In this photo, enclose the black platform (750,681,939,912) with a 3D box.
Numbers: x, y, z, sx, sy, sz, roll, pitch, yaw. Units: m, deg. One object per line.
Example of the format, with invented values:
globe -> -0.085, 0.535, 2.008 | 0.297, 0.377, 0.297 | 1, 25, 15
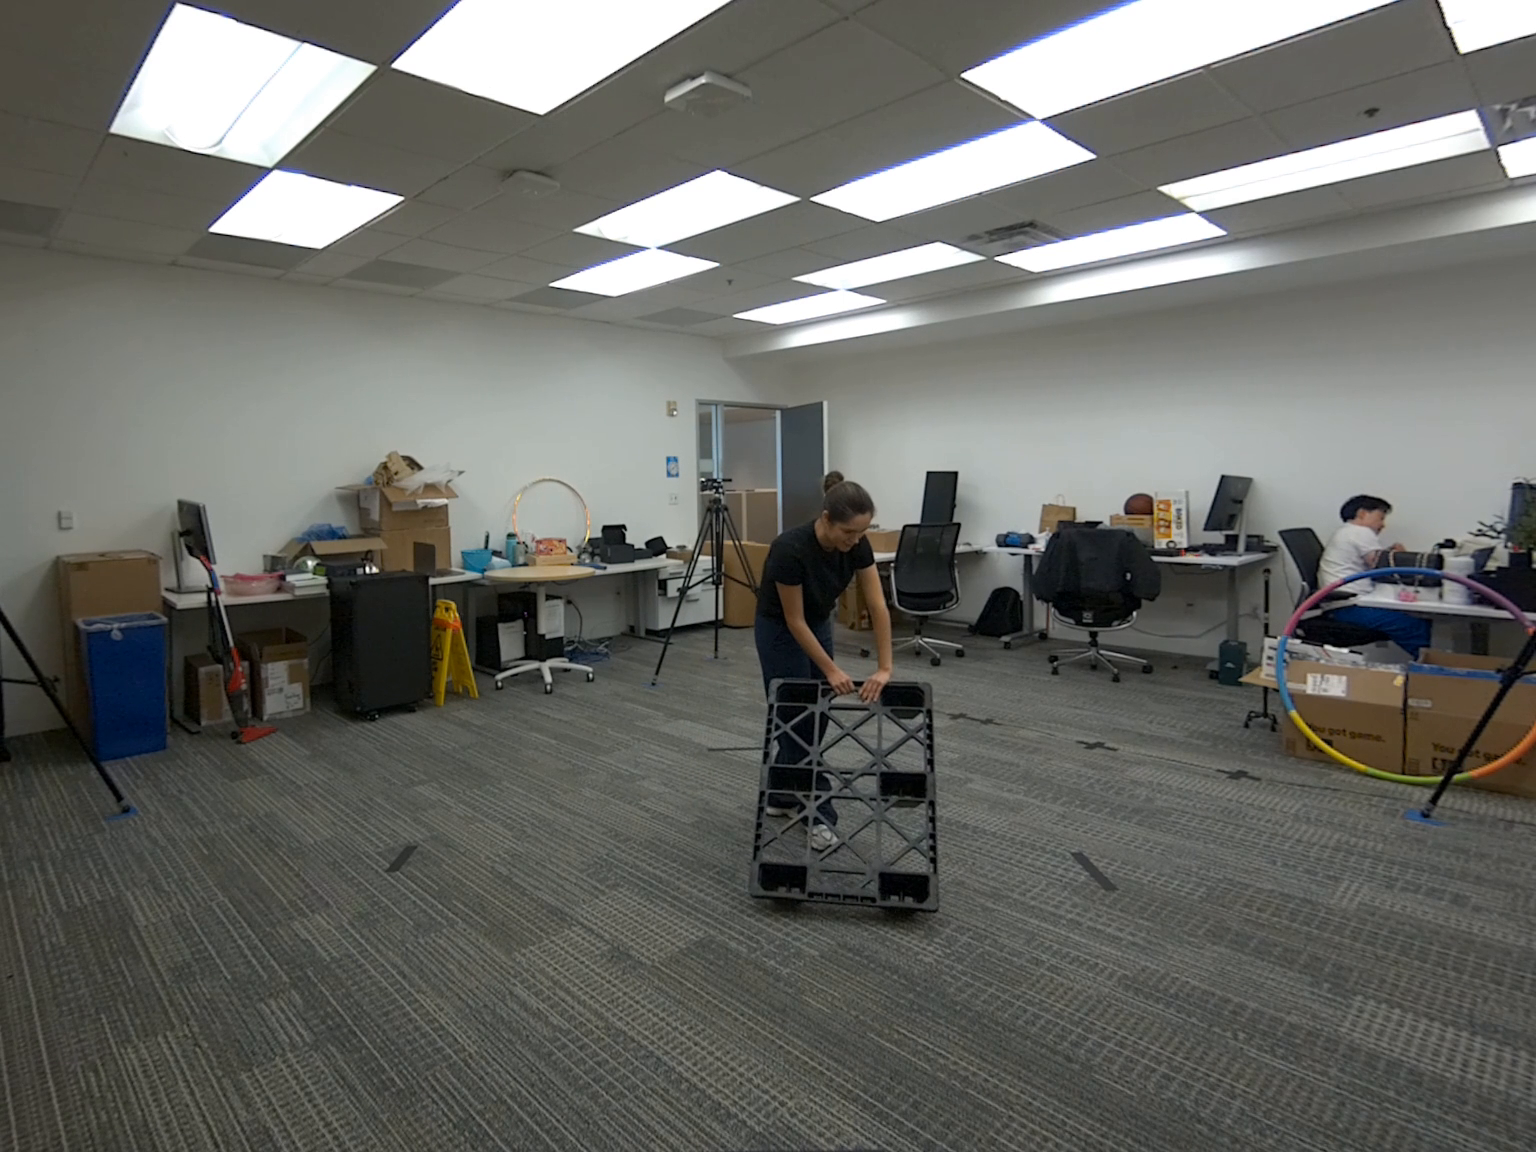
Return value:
black platform -> 0.277, 0.742, 2.990 | 0.612, 0.823, 0.139 | 0, -38, 11
